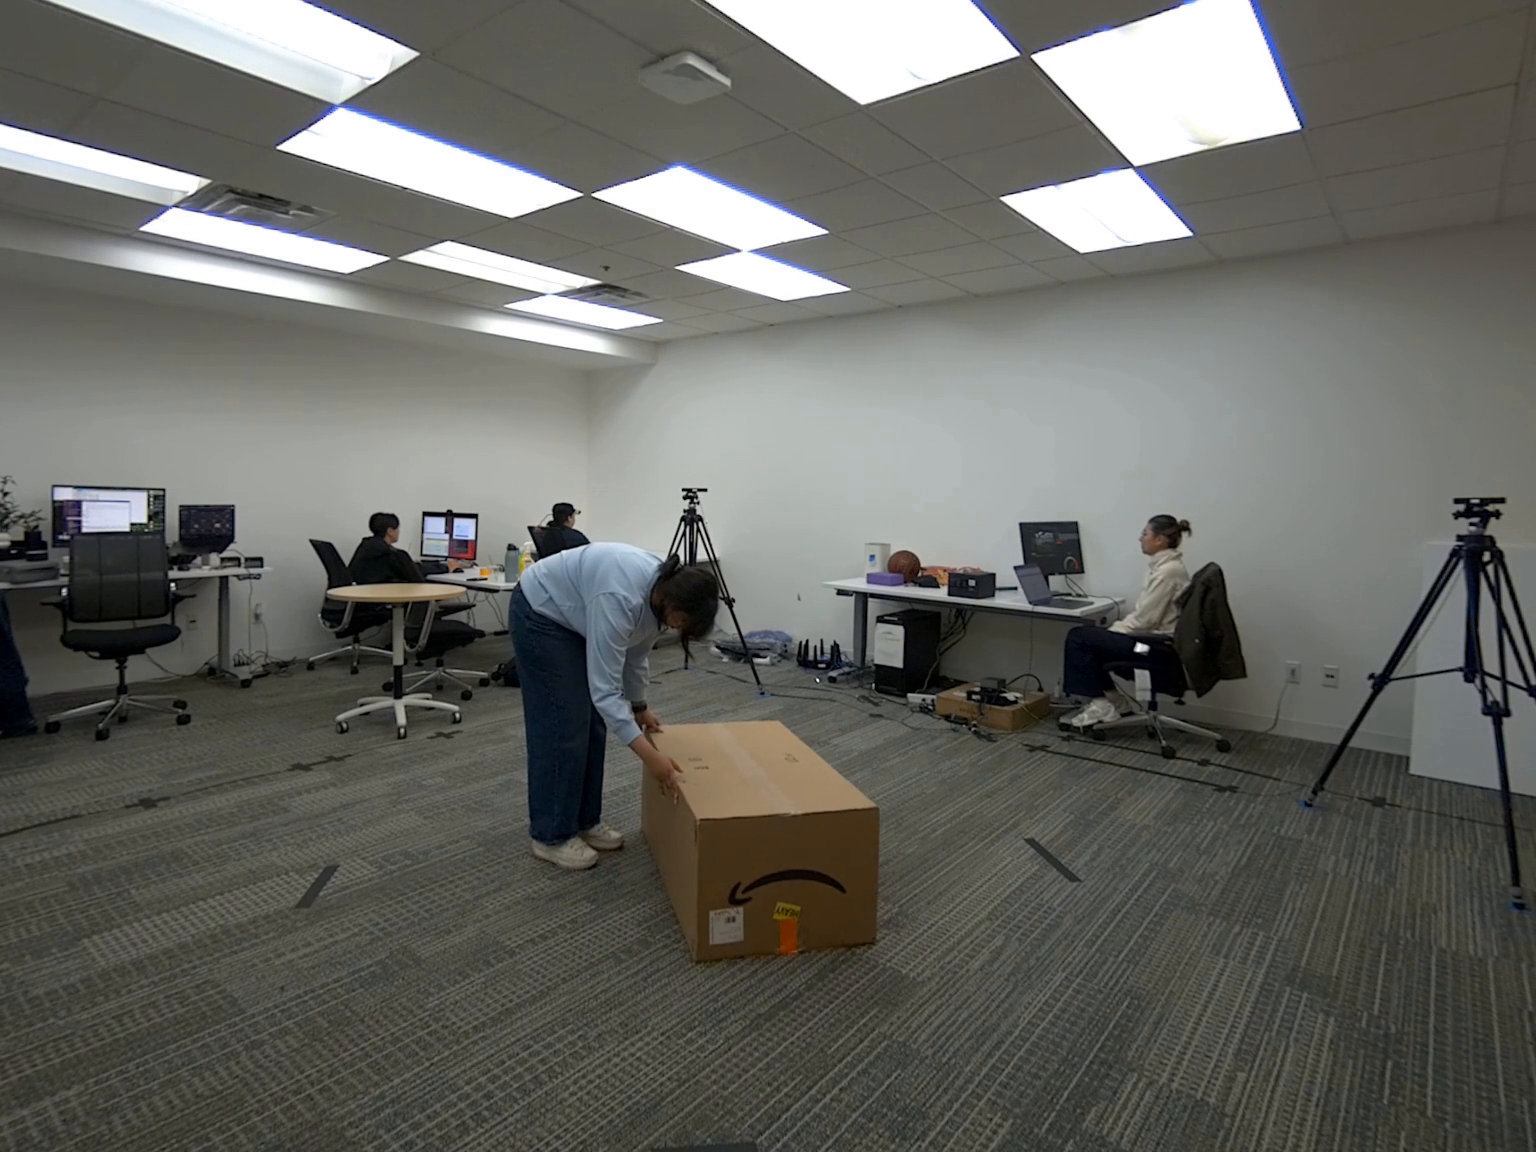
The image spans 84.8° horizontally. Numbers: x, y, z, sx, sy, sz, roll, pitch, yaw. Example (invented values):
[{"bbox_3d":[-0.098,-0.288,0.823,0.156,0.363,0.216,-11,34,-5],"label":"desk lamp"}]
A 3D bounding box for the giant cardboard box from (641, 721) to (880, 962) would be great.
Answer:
[{"bbox_3d":[-0.092,0.867,3.028,0.569,0.425,1.046,-1,5,-16],"label":"giant cardboard box"}]
